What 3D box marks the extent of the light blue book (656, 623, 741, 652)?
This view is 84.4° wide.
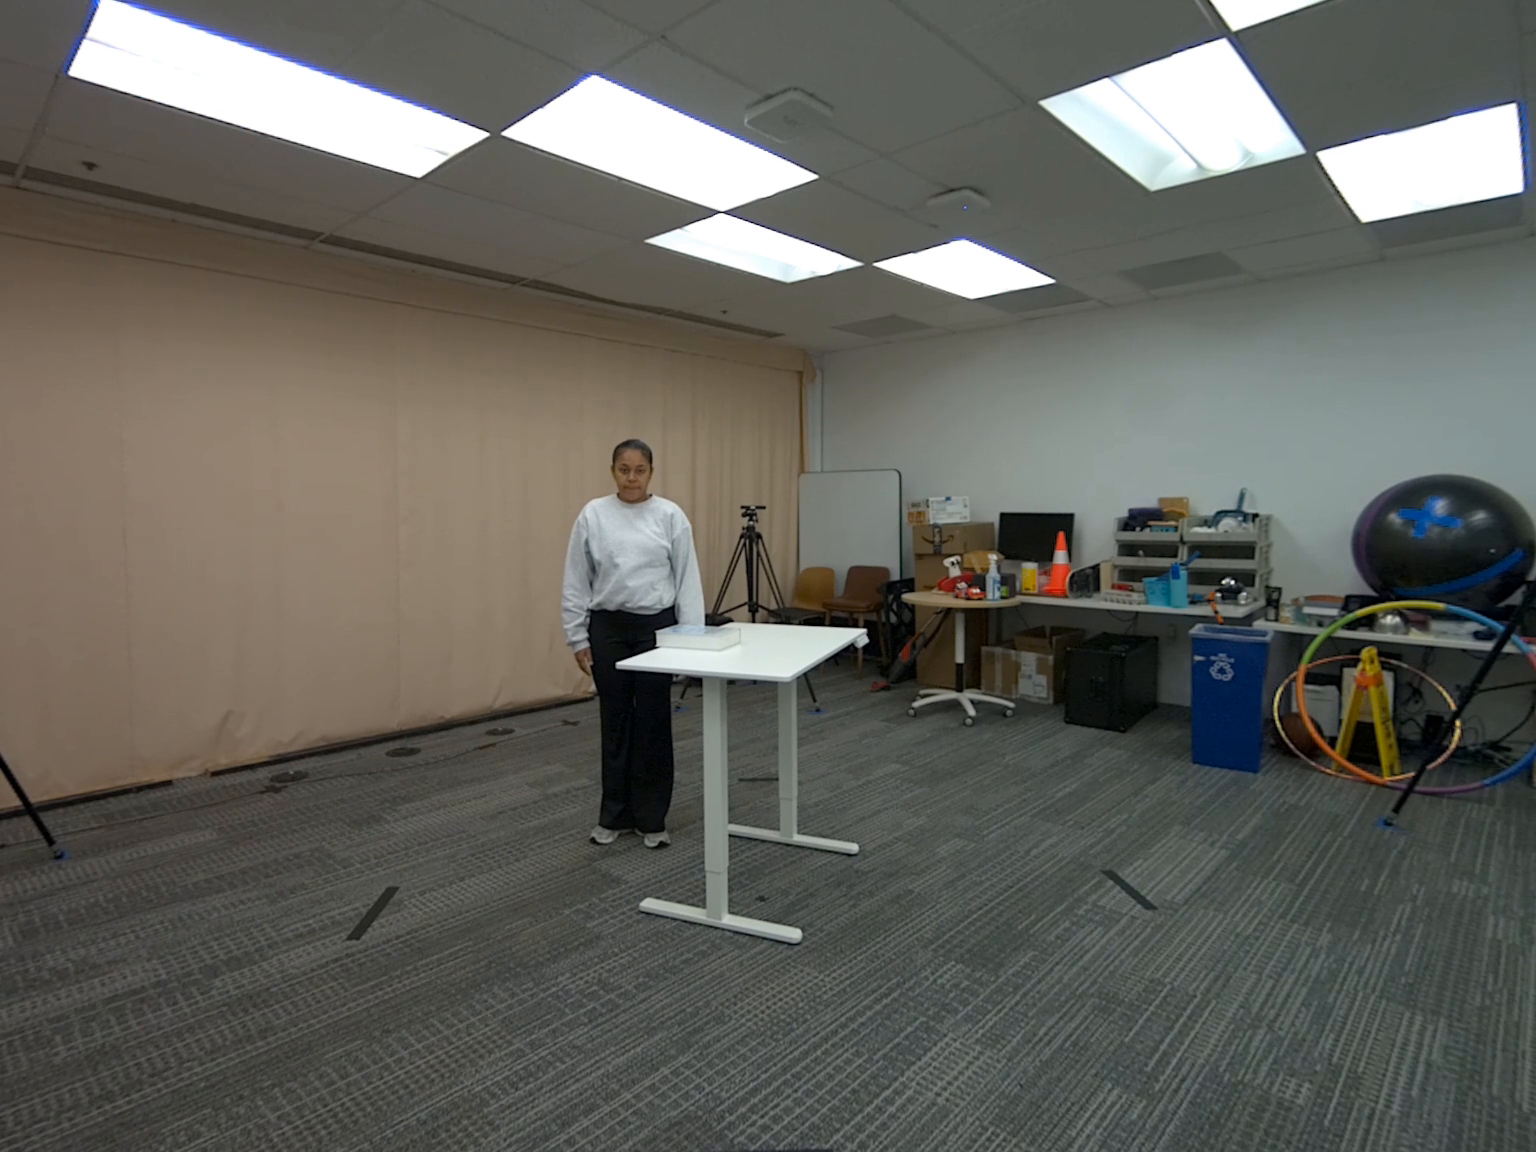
[{"bbox_3d":[-0.253,0.224,3.104,0.267,0.059,0.187,2,5,24],"label":"light blue book"}]
